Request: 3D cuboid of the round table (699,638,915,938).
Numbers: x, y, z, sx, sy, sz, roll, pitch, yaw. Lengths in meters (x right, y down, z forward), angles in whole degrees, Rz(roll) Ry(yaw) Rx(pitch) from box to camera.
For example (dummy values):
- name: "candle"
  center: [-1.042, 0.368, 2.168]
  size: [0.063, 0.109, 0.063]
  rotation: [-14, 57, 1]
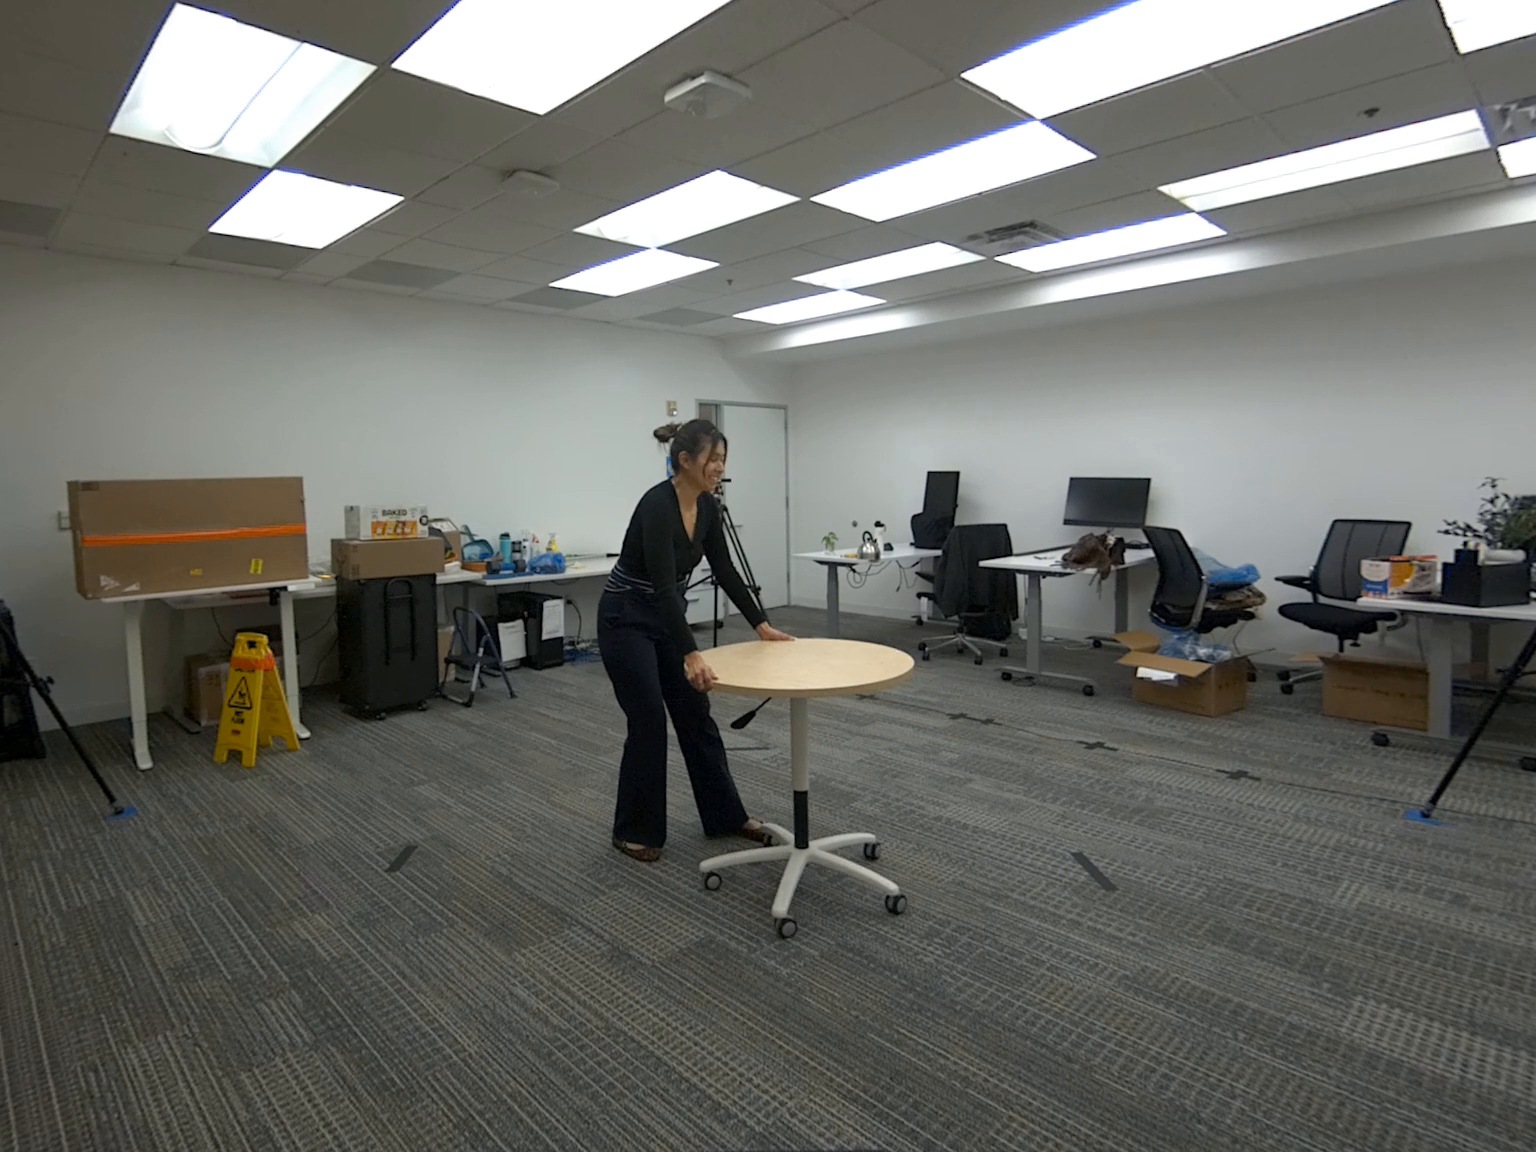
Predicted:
- name: "round table"
  center: [0.114, 0.676, 2.896]
  size: [0.763, 0.790, 0.768]
  rotation: [-1, 5, -2]
